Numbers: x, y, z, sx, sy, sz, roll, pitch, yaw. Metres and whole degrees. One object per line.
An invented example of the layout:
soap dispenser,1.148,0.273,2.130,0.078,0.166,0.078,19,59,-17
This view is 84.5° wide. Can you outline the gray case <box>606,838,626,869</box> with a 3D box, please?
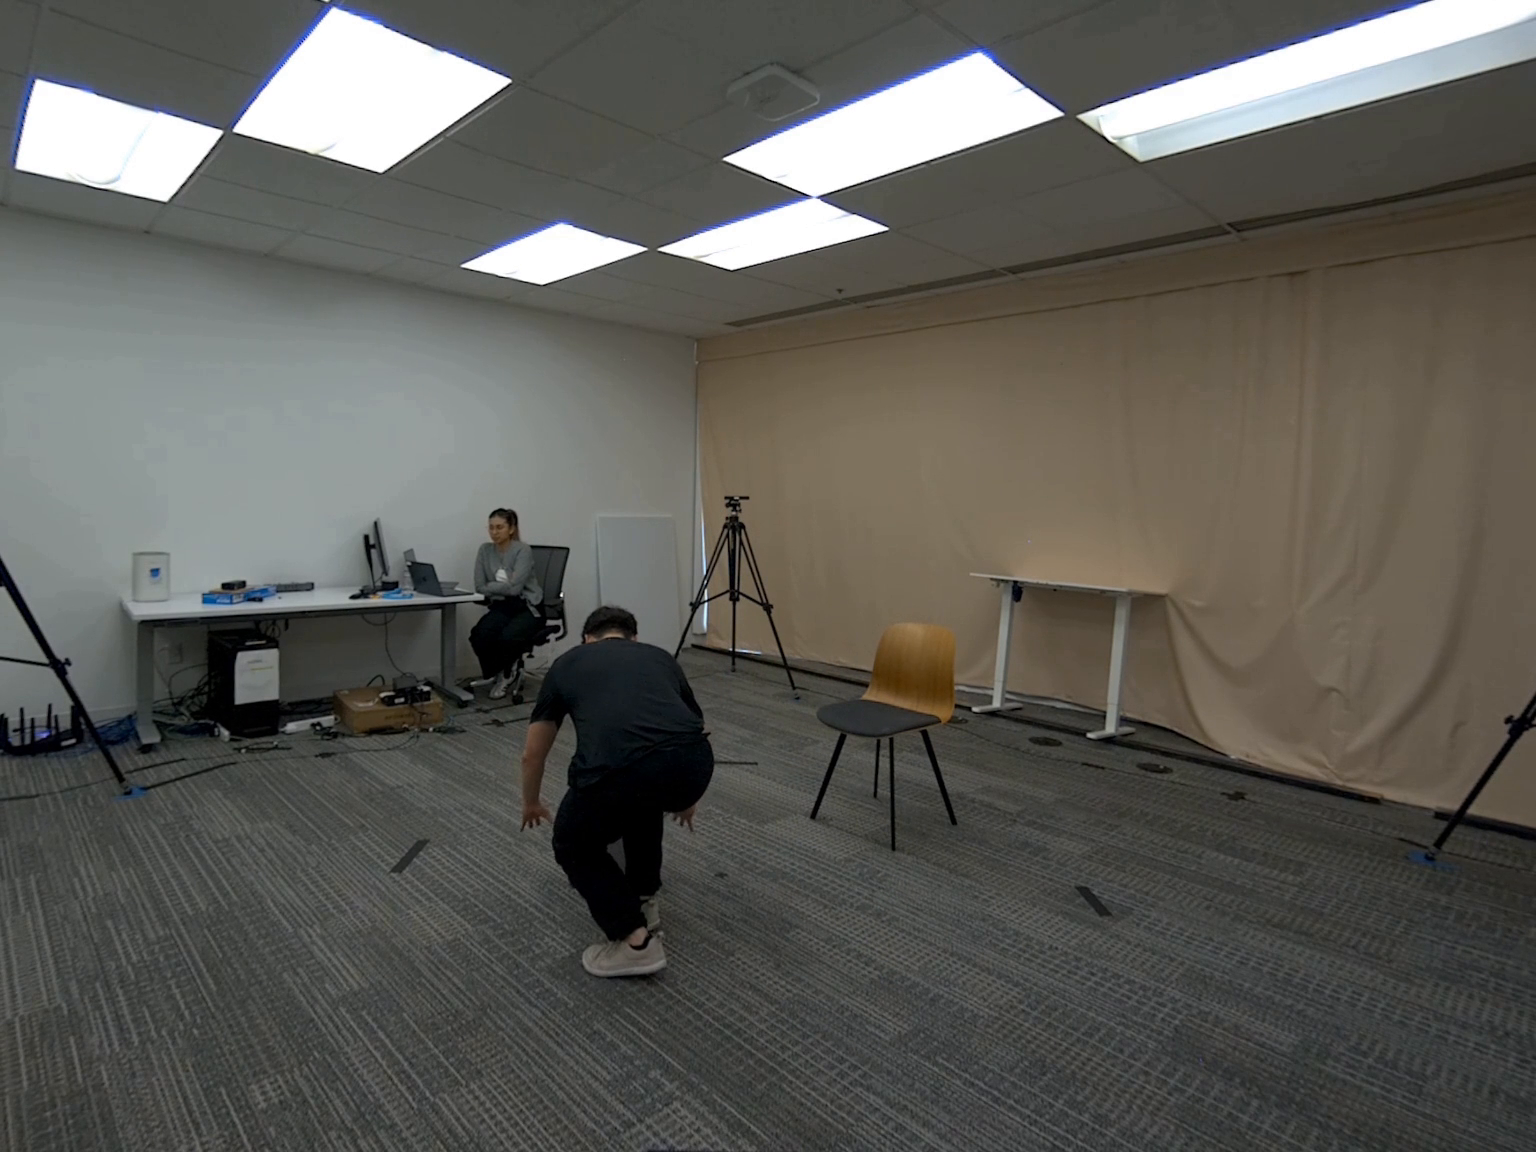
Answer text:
gray case,-0.589,0.971,3.032,0.256,0.262,0.104,3,-7,-4
